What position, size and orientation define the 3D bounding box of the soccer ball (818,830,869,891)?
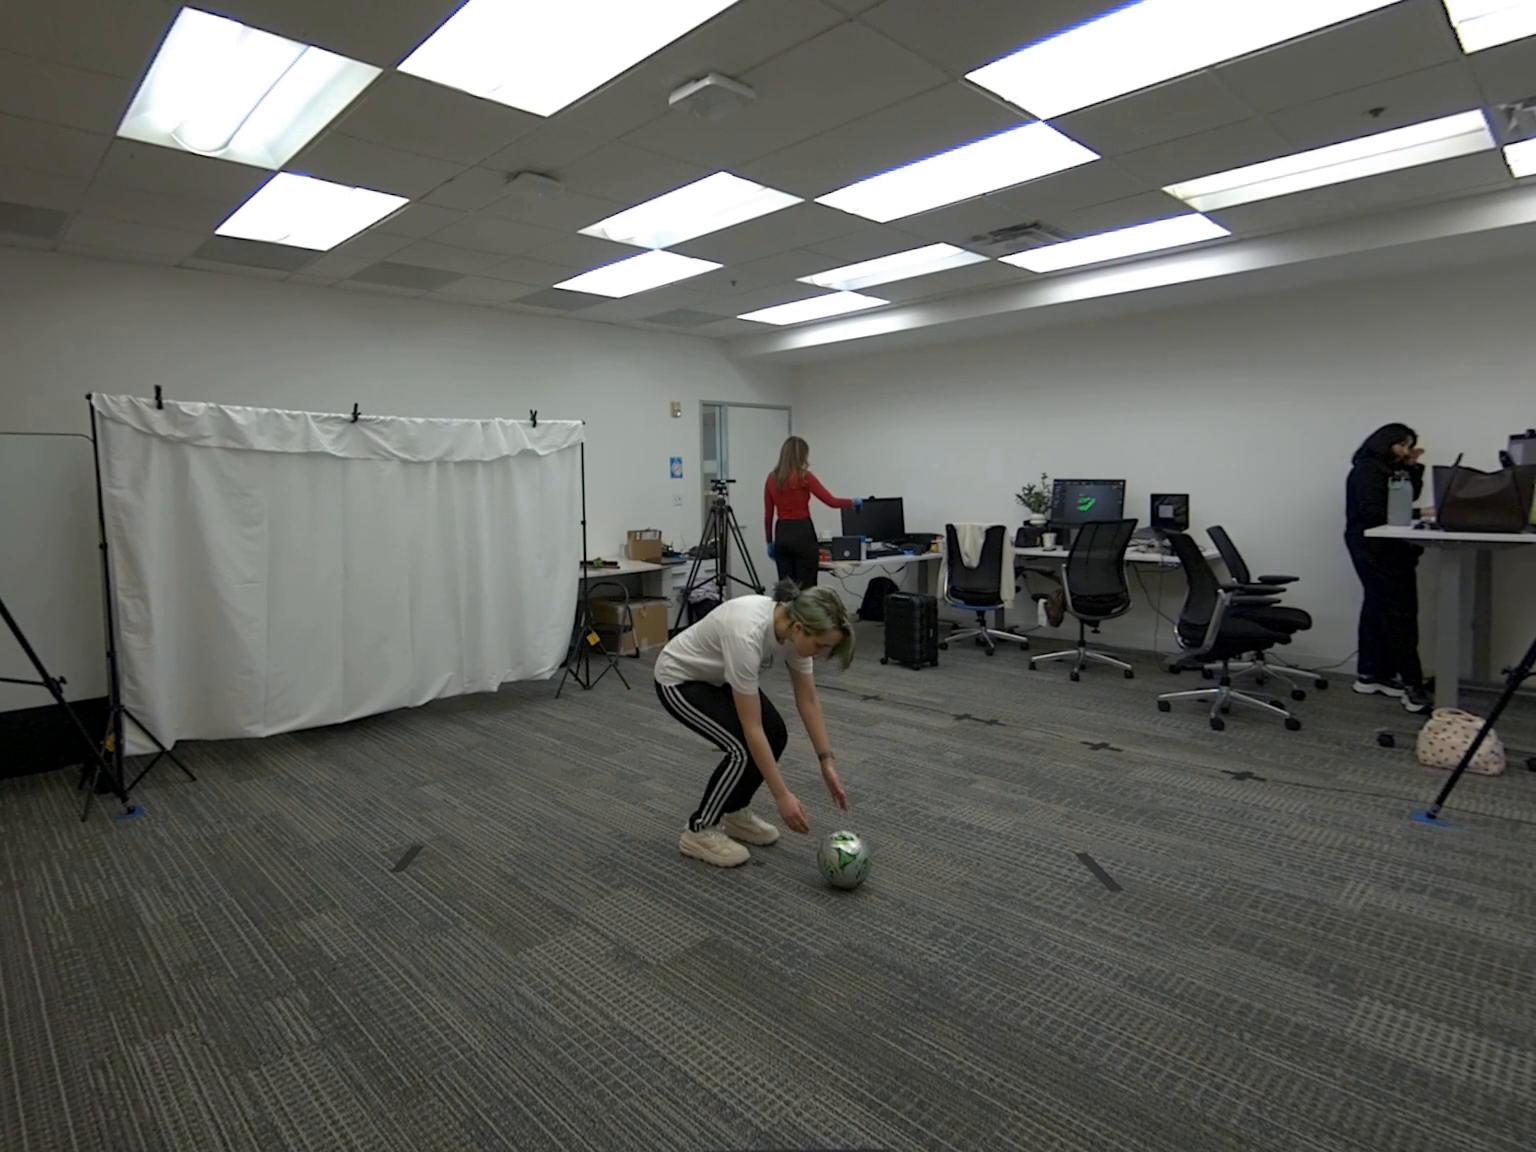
[{"bbox_3d":[0.263,0.967,2.919,0.187,0.187,0.188,-1,5,-2],"label":"soccer ball"}]
